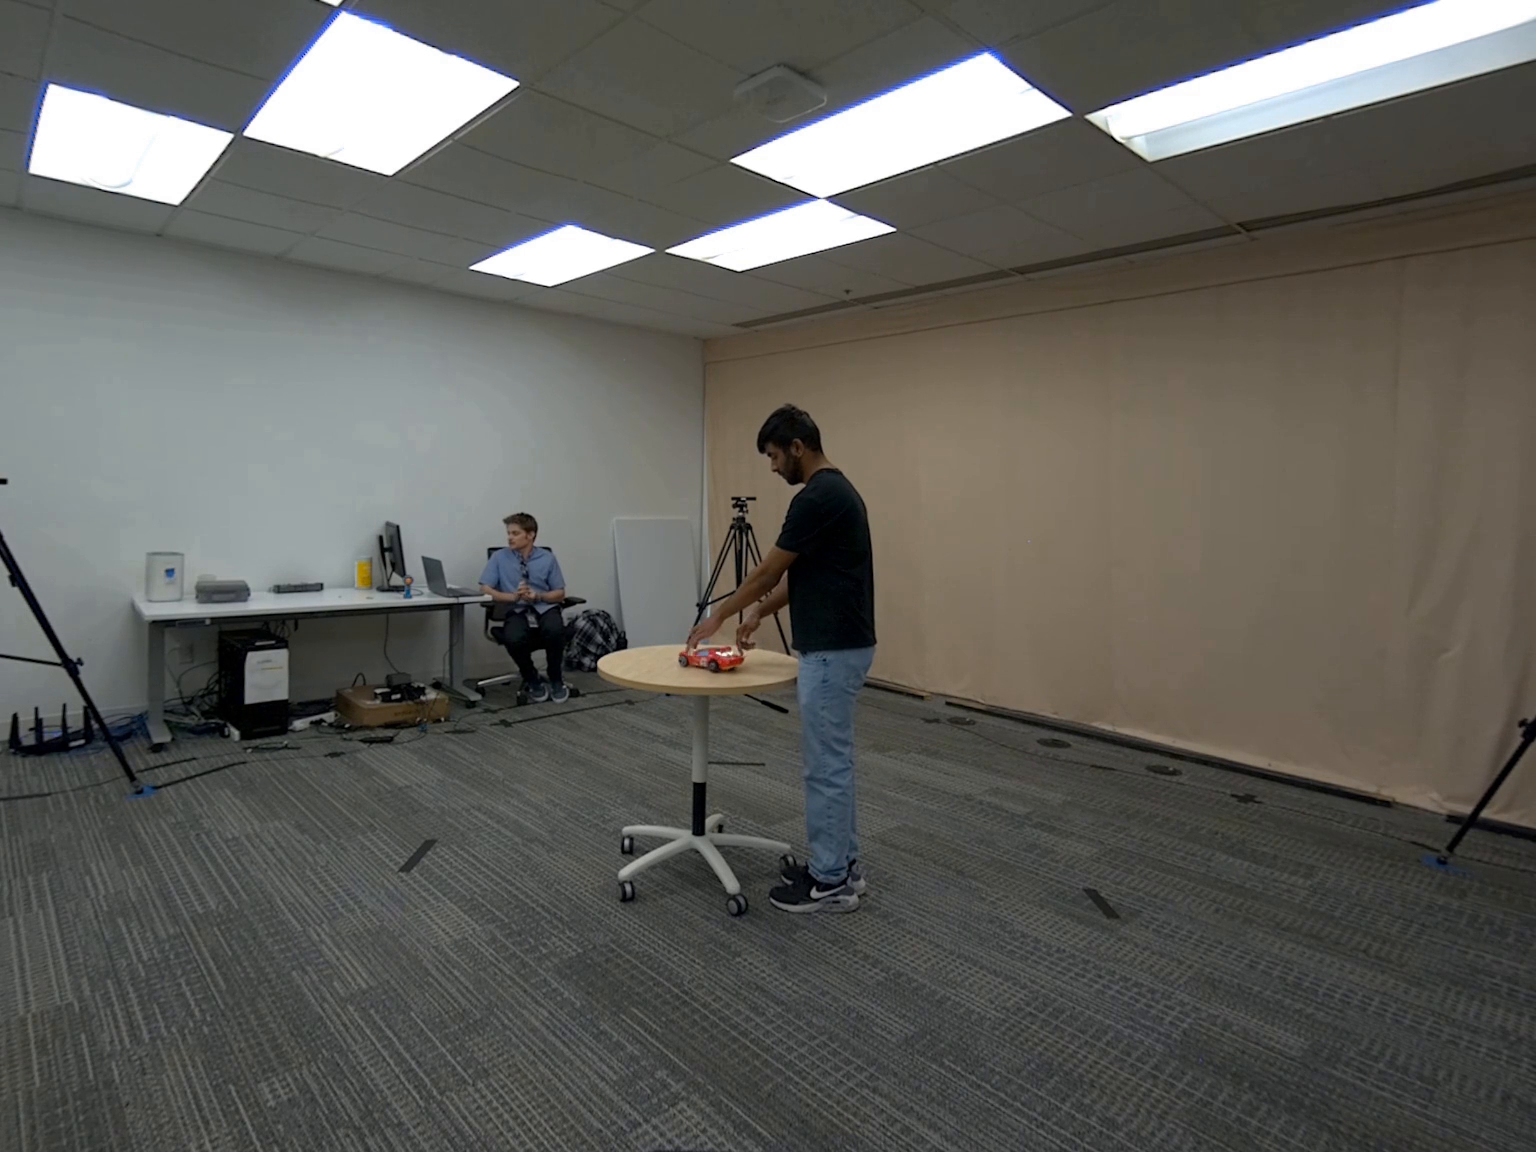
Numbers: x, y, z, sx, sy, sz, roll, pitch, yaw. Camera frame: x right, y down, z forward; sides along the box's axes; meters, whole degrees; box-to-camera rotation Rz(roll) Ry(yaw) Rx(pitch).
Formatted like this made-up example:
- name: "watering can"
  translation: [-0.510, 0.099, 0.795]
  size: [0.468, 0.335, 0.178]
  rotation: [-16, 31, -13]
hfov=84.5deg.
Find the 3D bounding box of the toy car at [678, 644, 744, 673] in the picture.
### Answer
- name: "toy car"
  translation: [-0.199, 0.300, 3.016]
  size: [0.259, 0.083, 0.127]
  rotation: [-8, -2, 39]
